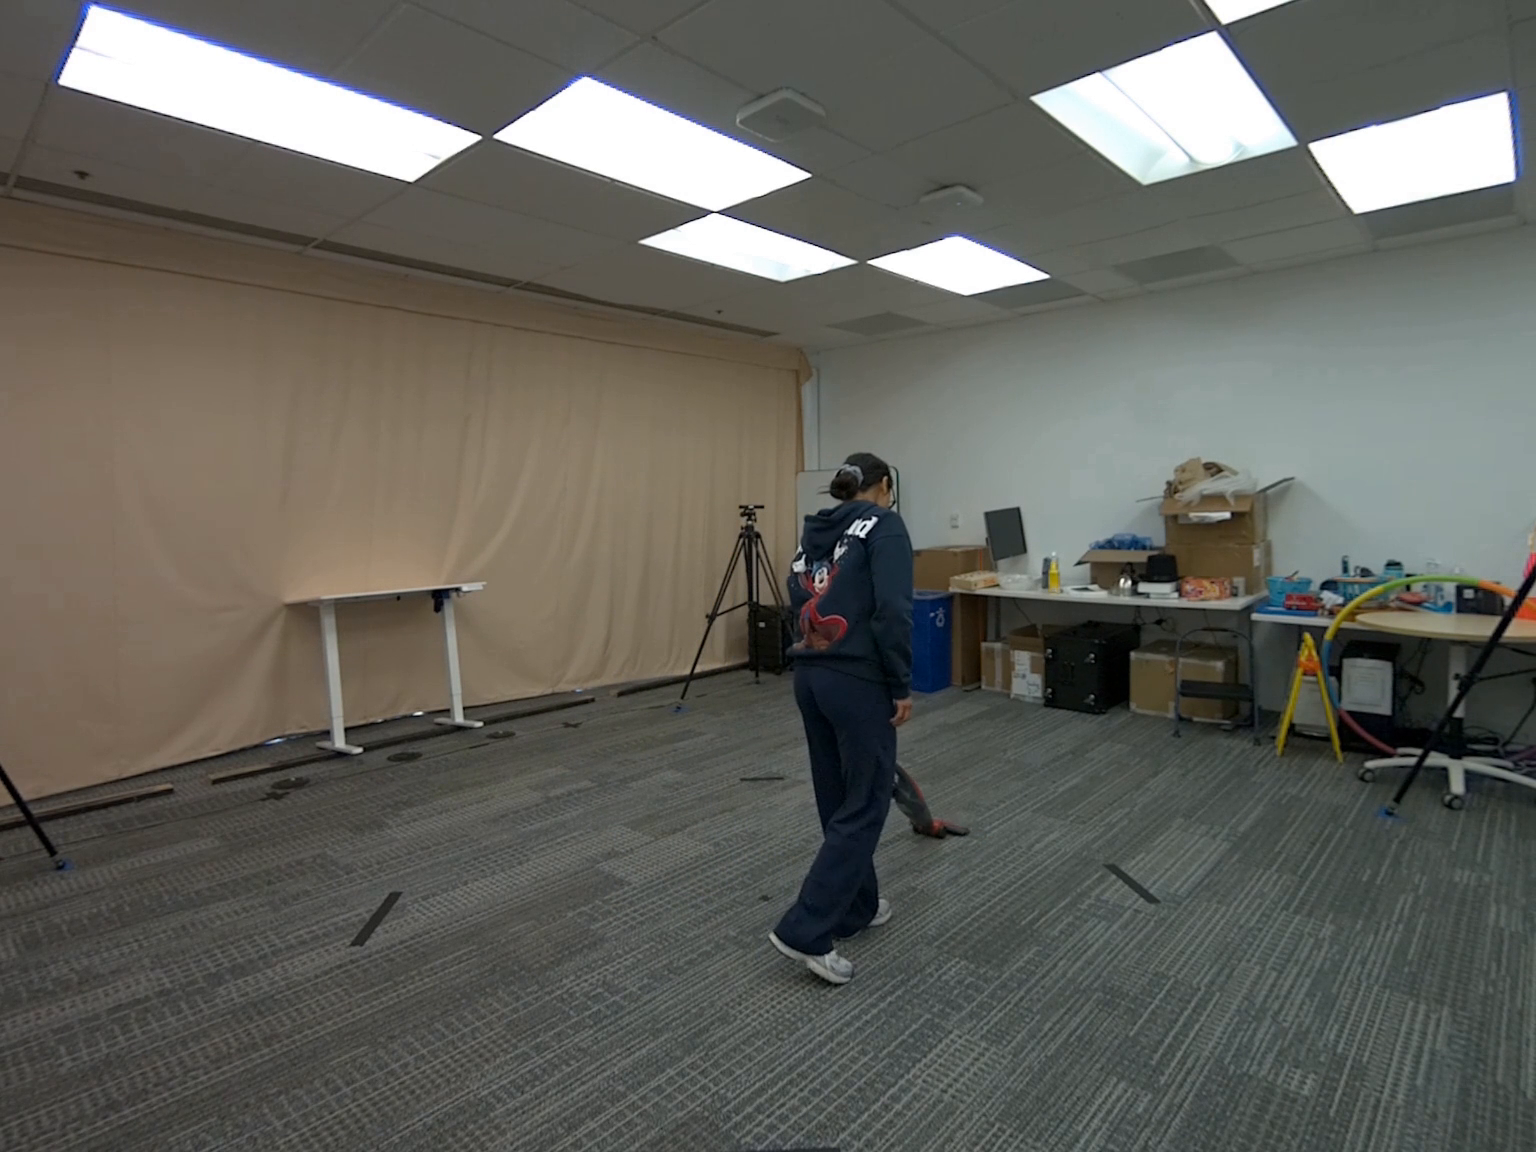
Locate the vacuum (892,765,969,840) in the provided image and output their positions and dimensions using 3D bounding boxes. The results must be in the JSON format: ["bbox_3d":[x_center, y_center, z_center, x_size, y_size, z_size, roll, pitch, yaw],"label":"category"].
[{"bbox_3d":[0.471,0.760,3.246,0.260,0.145,1.015,-5,-41,33],"label":"vacuum"}]
